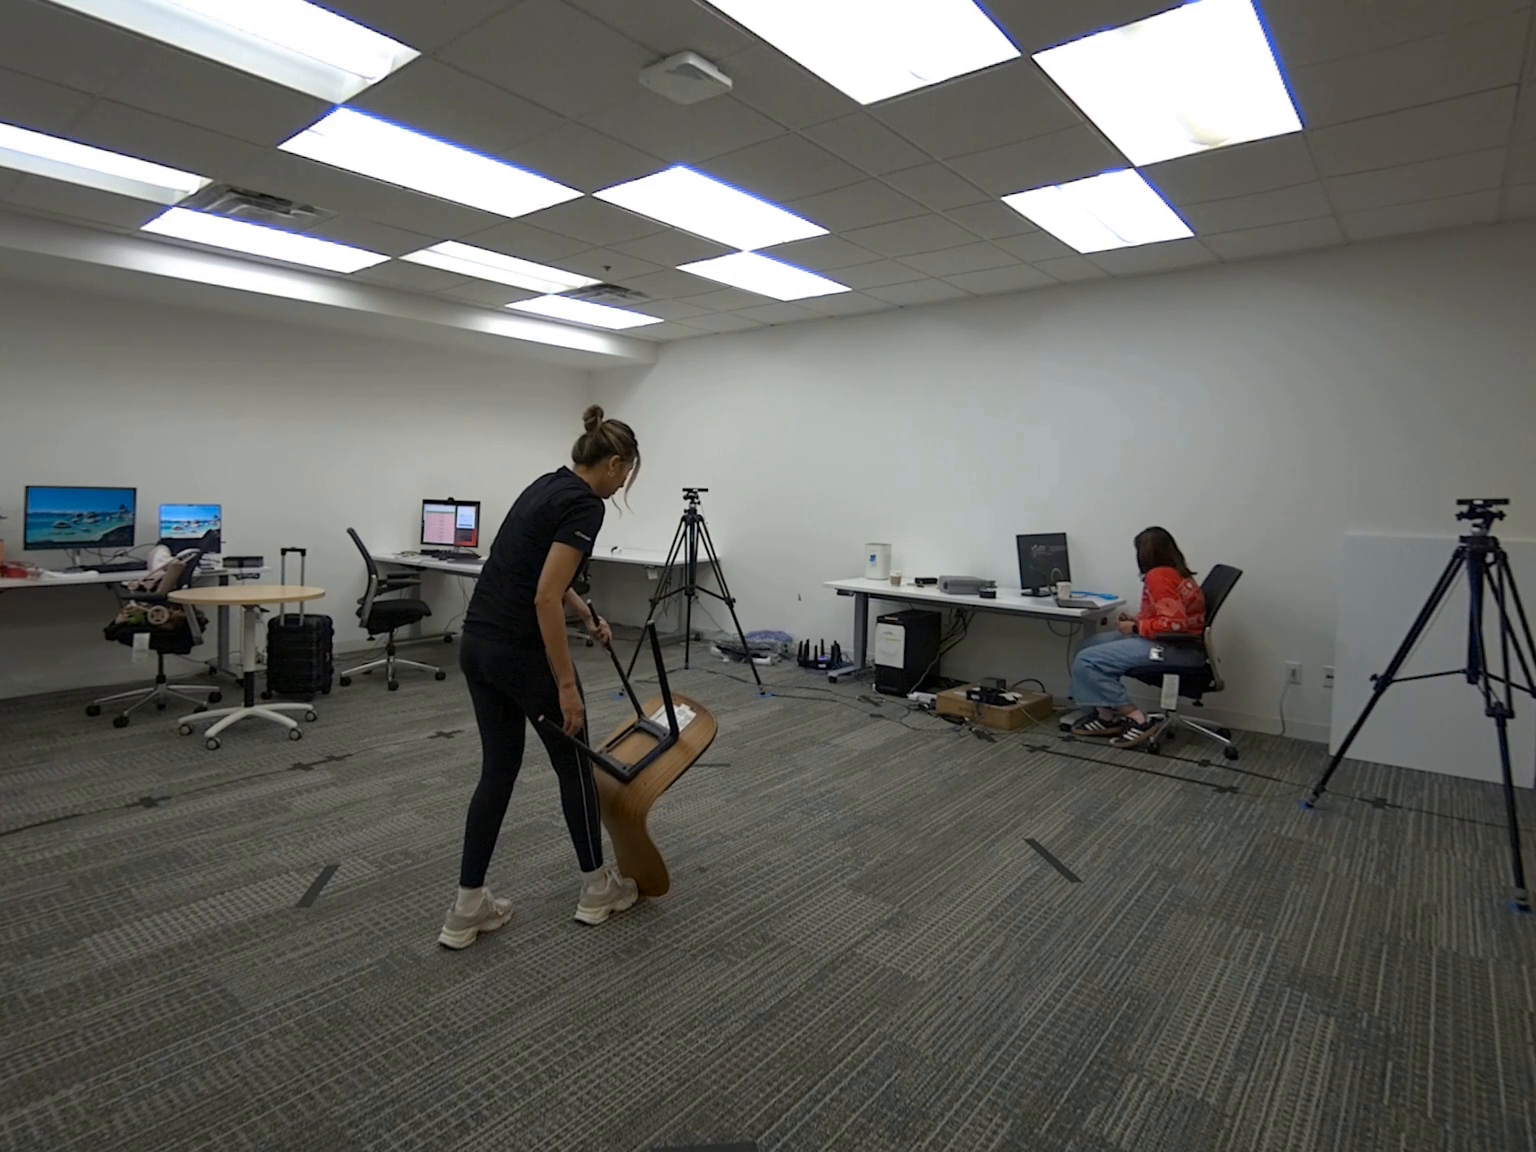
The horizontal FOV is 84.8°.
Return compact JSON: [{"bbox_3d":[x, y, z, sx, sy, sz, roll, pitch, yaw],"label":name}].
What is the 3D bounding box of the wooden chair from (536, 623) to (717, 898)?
[{"bbox_3d":[-0.462,0.584,2.905,0.519,0.855,0.494,-37,24,-27],"label":"wooden chair"}]
